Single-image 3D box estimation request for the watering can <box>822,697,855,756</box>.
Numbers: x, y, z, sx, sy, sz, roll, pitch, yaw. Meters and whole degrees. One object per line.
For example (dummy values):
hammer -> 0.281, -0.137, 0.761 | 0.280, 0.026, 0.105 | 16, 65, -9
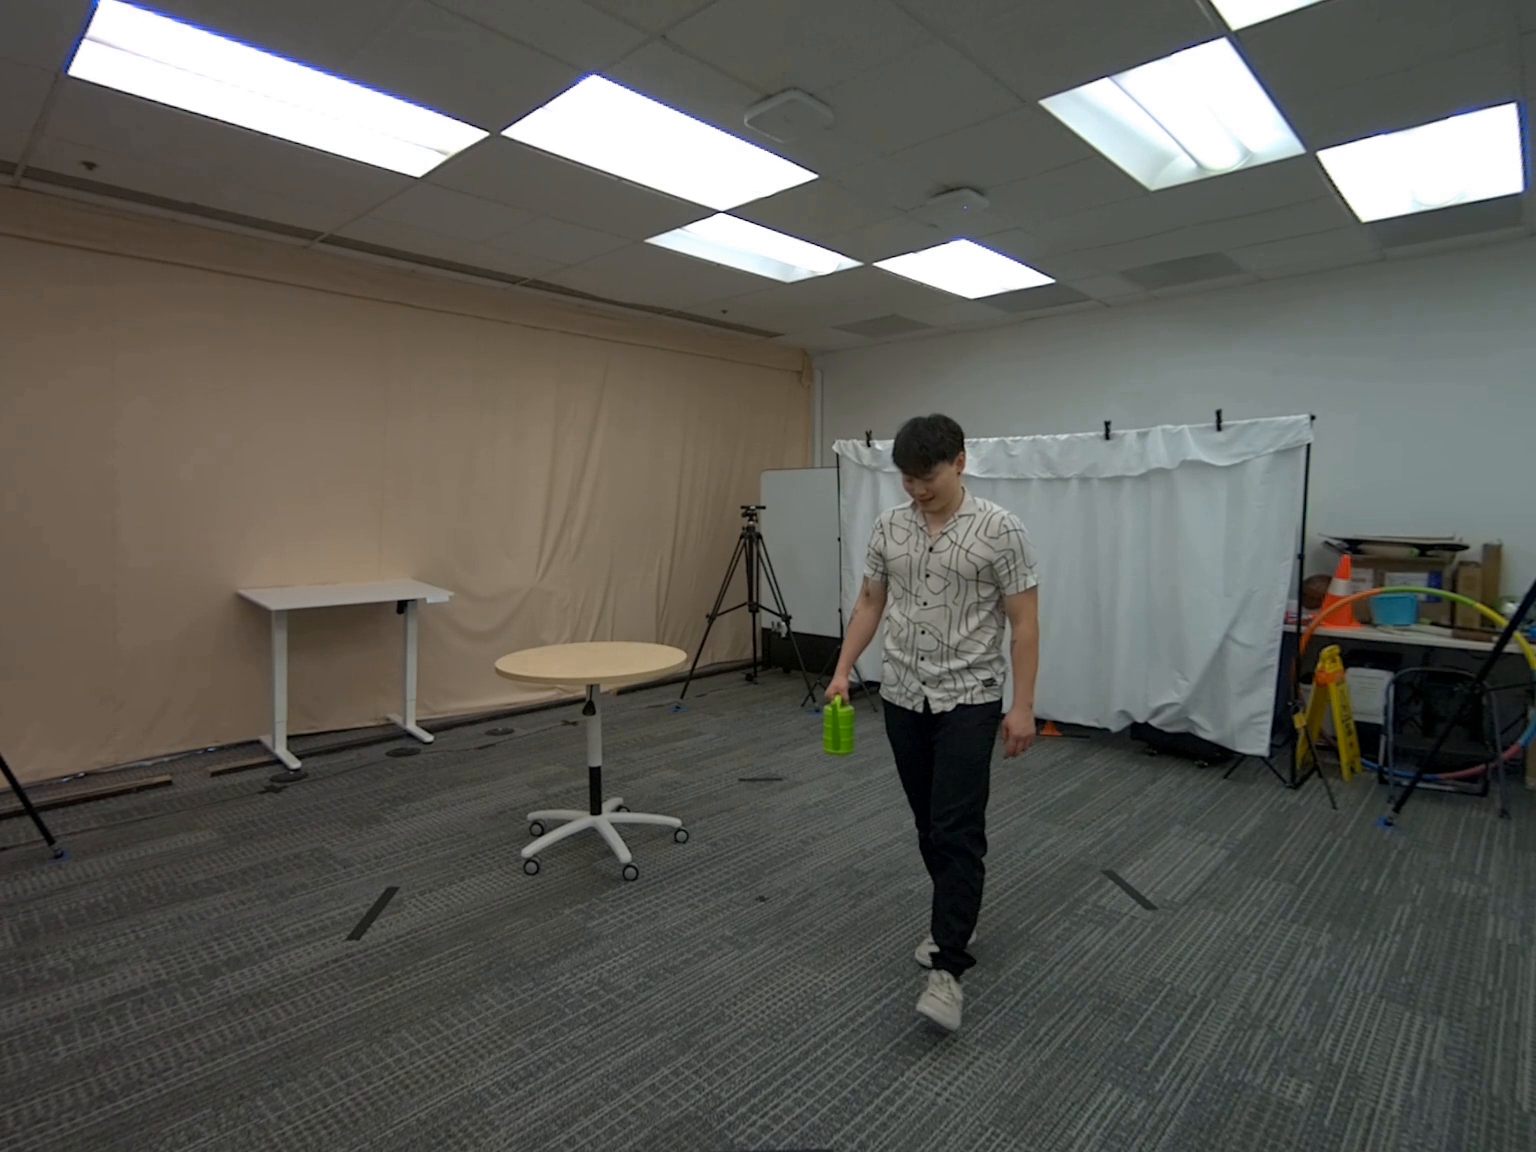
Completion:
watering can -> 0.213, 0.453, 2.537 | 0.100, 0.177, 0.271 | -1, -2, 23
